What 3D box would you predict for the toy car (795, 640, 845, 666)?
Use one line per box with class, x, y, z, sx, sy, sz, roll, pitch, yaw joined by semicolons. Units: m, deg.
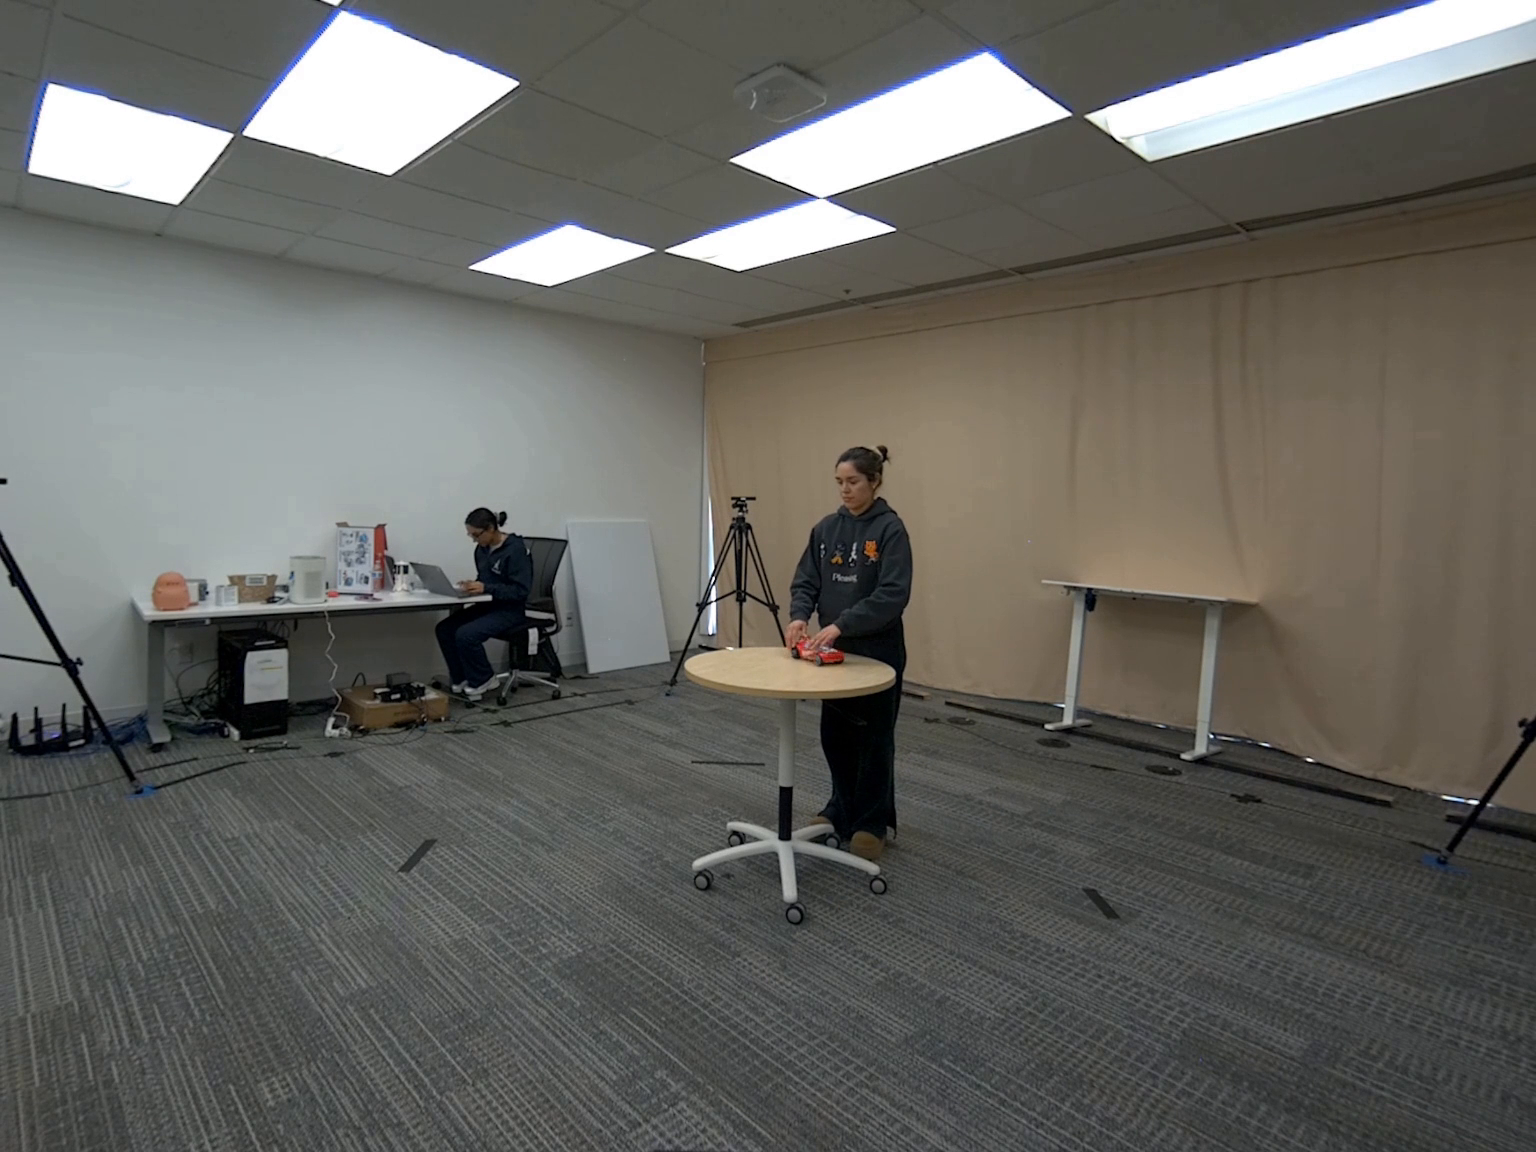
toy car;0.169;0.290;3.206;0.127;0.082;0.262;-3;17;-32
